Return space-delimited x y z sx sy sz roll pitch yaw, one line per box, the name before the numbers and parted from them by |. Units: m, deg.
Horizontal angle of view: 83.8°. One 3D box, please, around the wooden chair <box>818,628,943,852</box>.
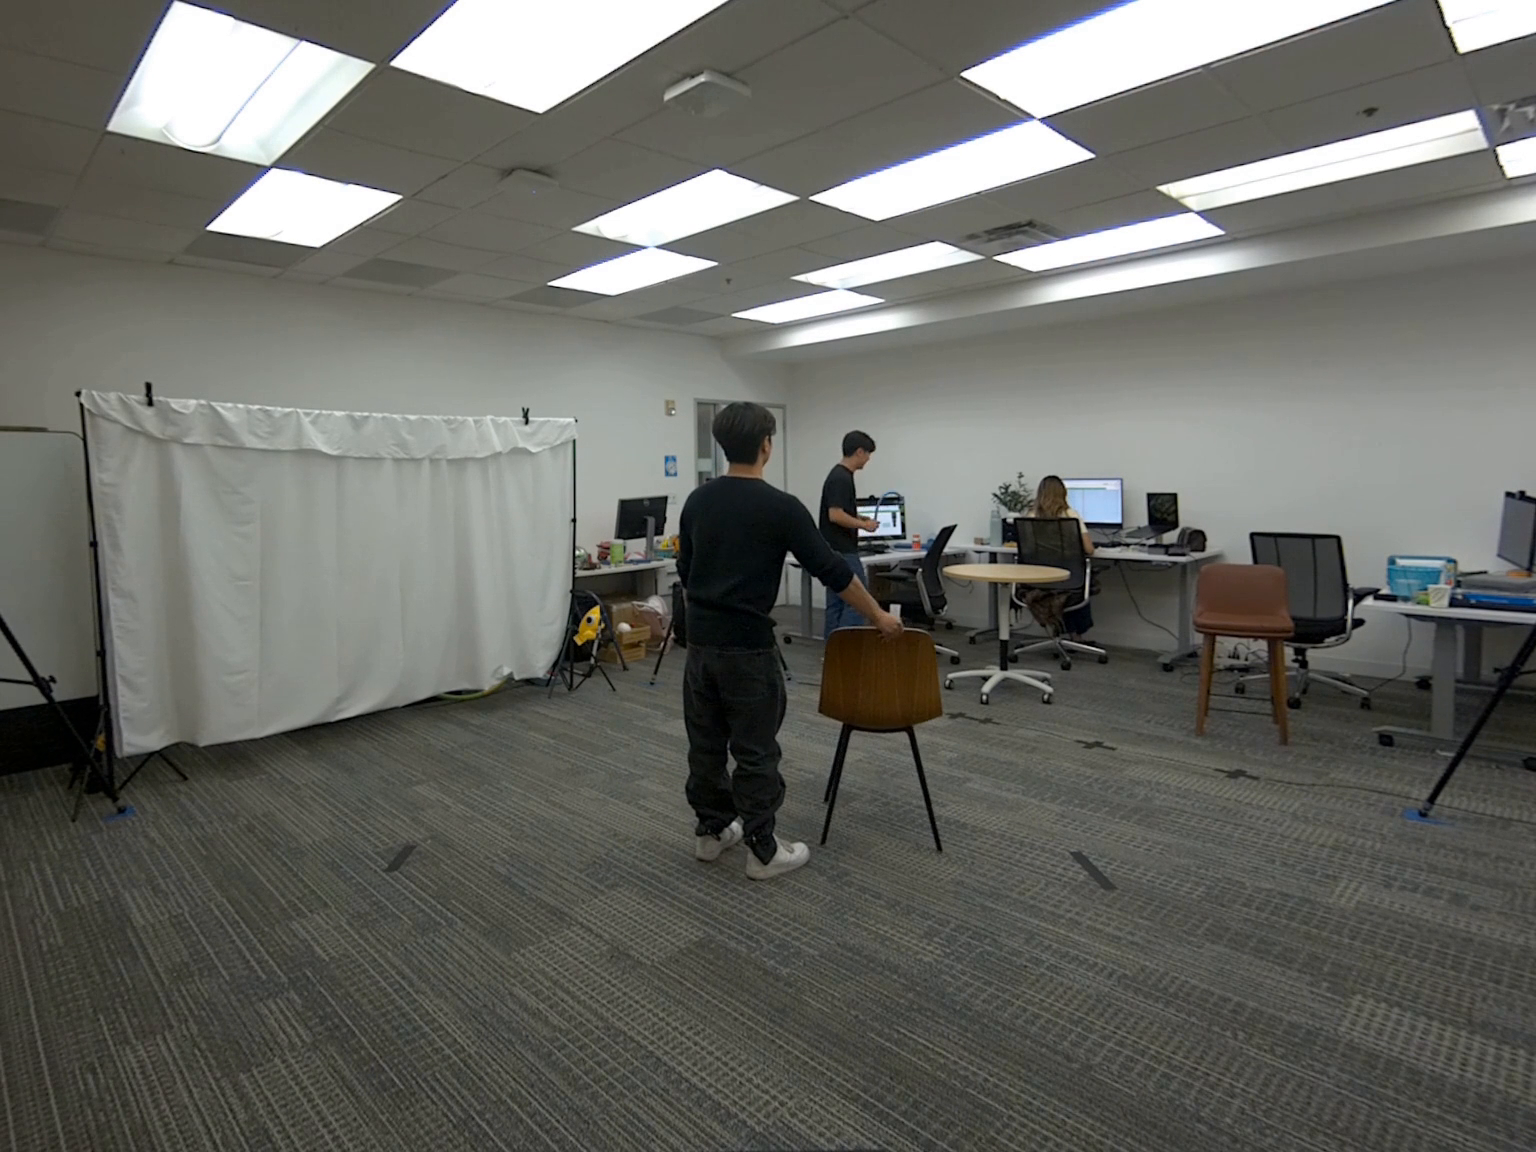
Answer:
wooden chair | 0.435 0.572 3.400 0.482 0.871 0.523 -1 8 6
